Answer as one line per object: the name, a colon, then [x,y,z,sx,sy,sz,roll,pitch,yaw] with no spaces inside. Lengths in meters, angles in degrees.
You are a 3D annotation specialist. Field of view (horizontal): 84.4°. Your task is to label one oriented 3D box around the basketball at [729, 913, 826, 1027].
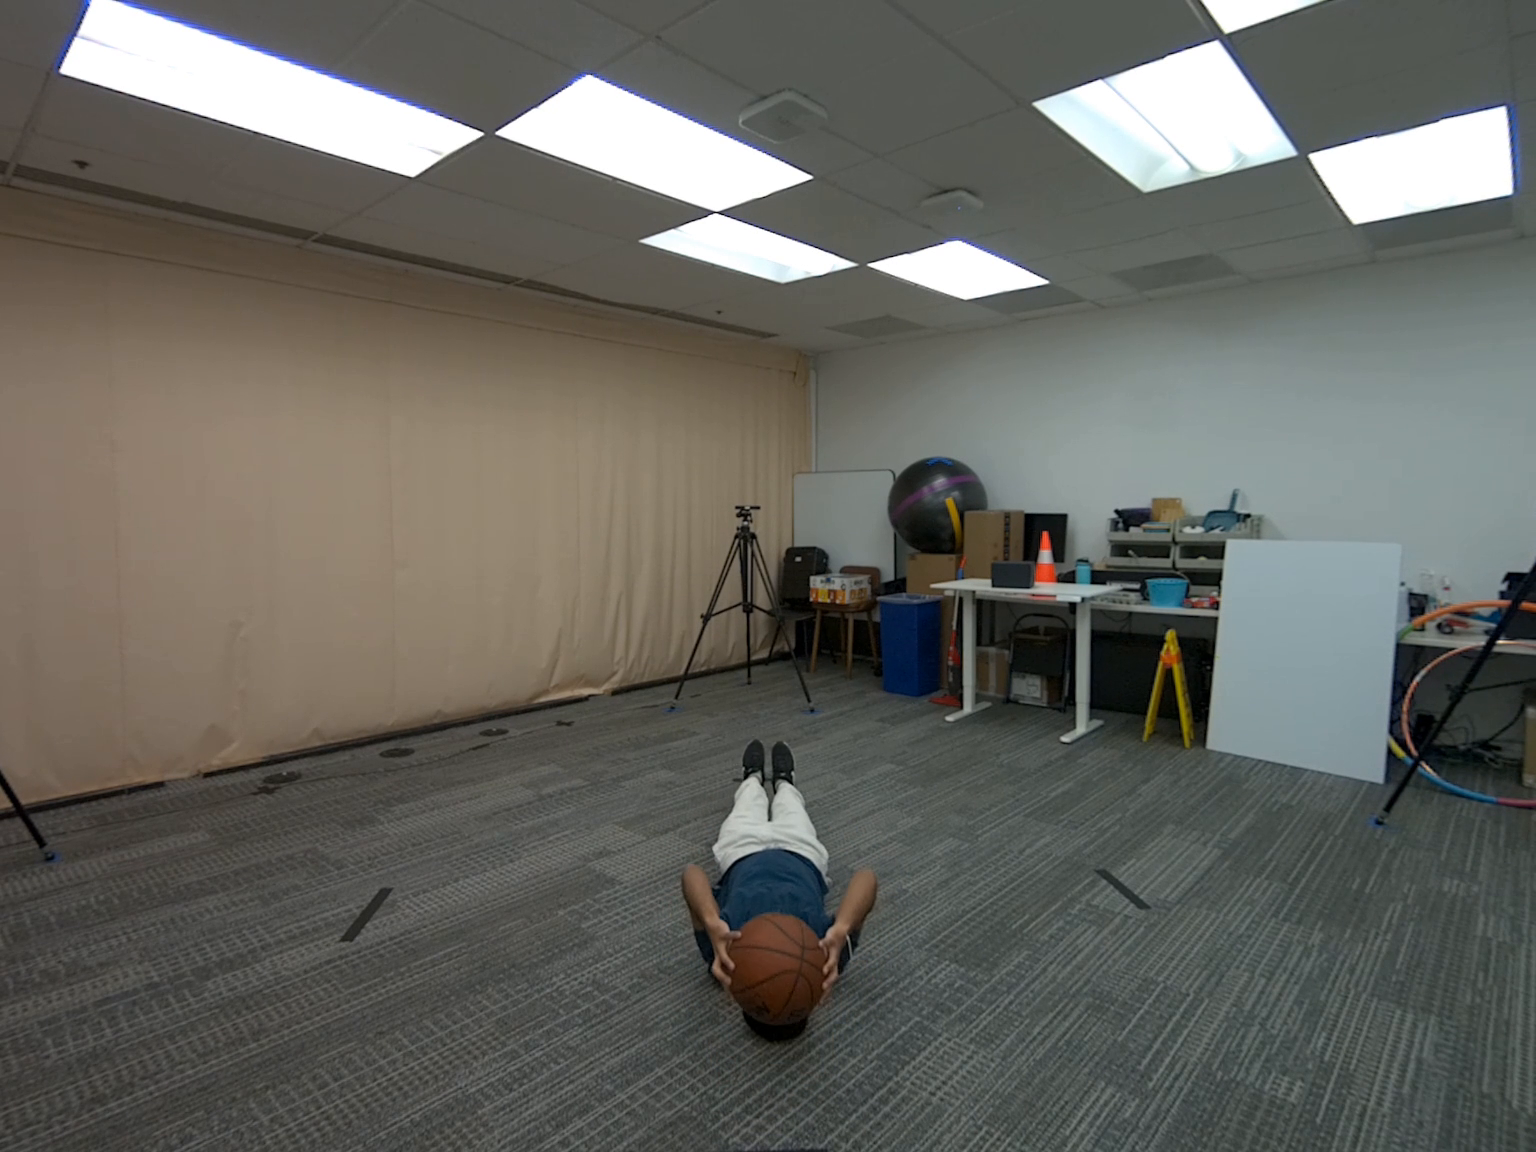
basketball: [0.024,0.926,1.987,0.236,0.235,0.237,0,4,-2]
